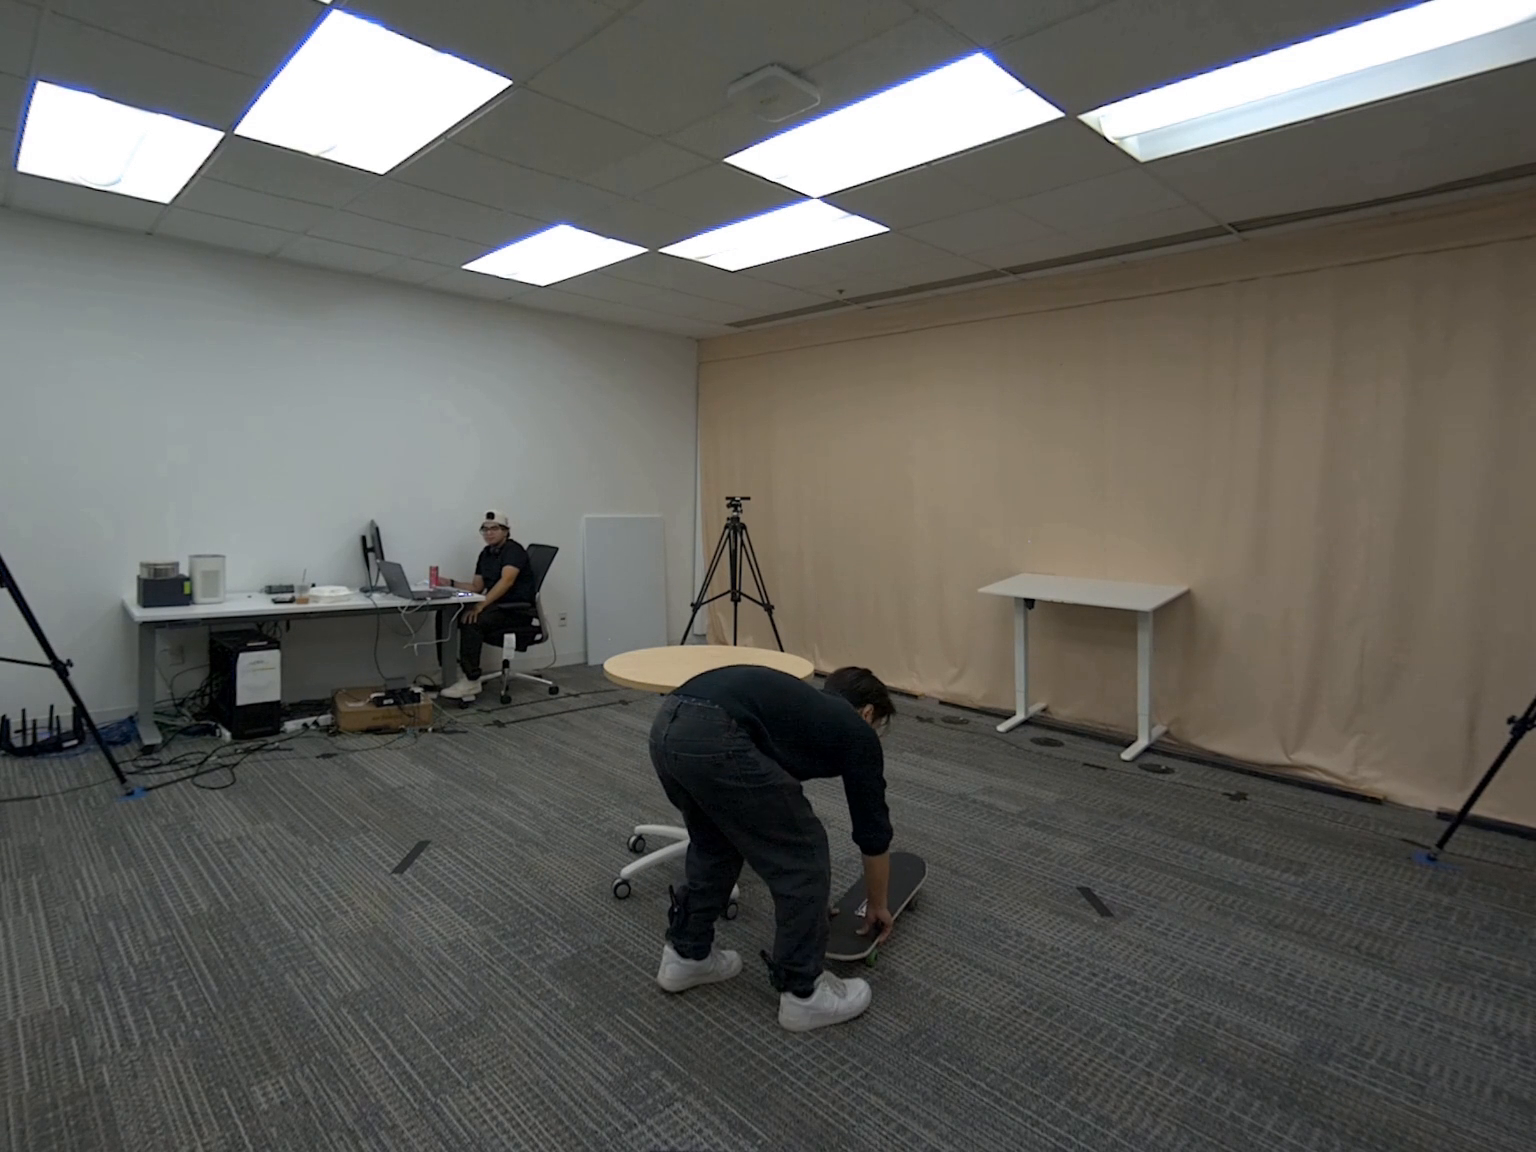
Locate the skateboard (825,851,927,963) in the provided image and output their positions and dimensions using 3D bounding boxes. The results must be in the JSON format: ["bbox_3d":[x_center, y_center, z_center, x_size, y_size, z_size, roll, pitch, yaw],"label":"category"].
[{"bbox_3d":[0.337,1.097,2.739,0.197,0.110,0.771,4,6,28],"label":"skateboard"}]
